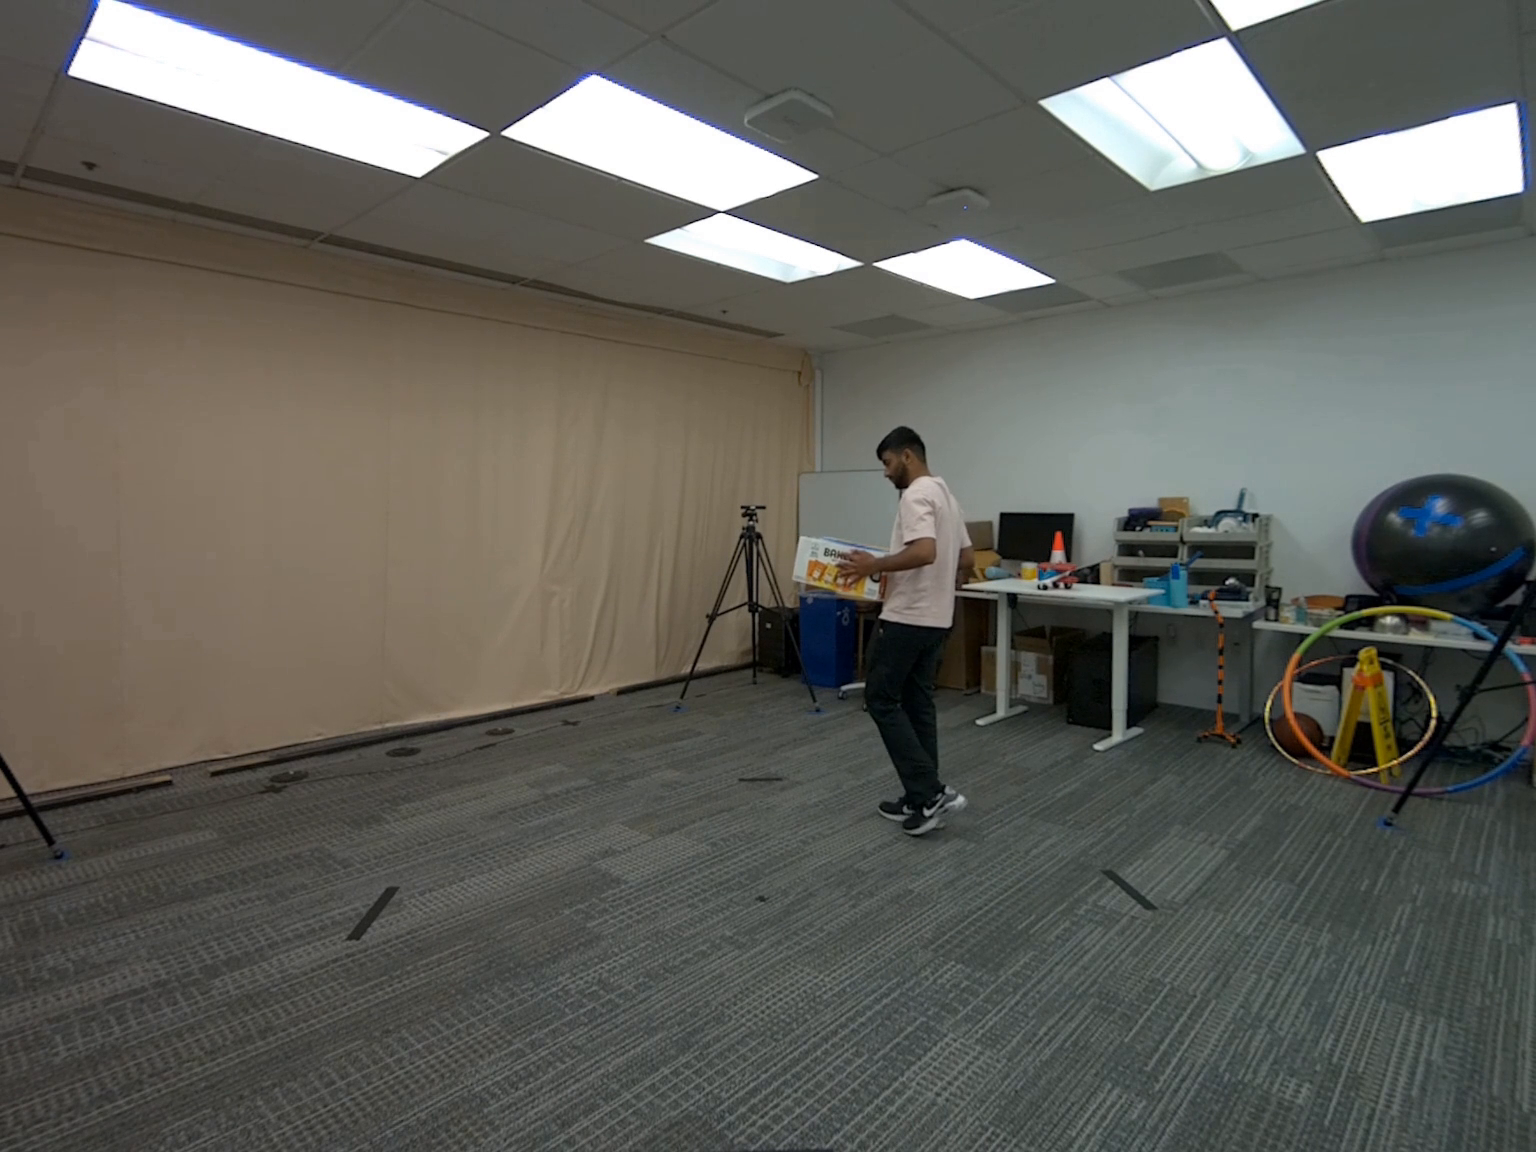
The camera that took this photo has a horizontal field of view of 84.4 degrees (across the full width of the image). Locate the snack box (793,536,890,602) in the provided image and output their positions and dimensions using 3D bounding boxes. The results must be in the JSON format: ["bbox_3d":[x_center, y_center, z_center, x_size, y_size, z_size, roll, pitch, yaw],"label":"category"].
[{"bbox_3d":[0.381,-0.041,3.812,0.417,0.205,0.331,13,7,28],"label":"snack box"}]
